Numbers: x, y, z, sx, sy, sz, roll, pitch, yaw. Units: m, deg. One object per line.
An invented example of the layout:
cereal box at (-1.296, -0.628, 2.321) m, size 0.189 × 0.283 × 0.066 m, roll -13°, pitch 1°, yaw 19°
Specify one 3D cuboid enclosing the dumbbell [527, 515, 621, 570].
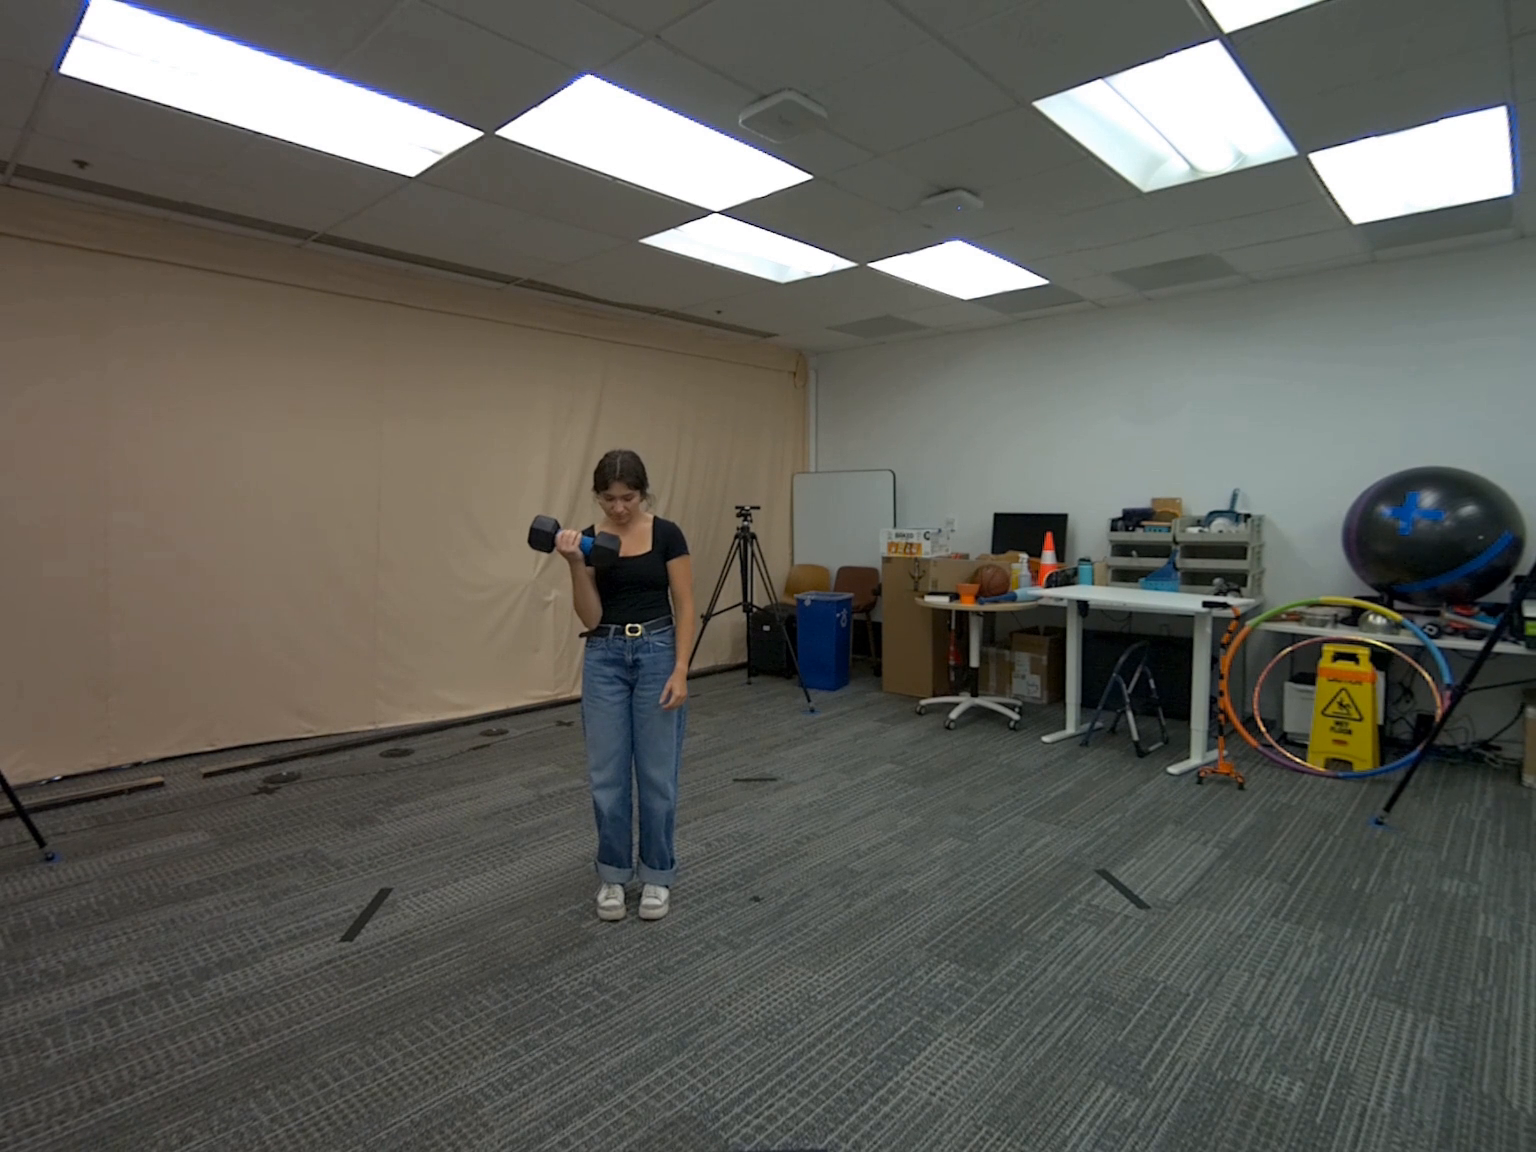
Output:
dumbbell at (-0.639, -0.104, 2.753) m, size 0.293 × 0.122 × 0.109 m, roll 15°, pitch 17°, yaw -1°
